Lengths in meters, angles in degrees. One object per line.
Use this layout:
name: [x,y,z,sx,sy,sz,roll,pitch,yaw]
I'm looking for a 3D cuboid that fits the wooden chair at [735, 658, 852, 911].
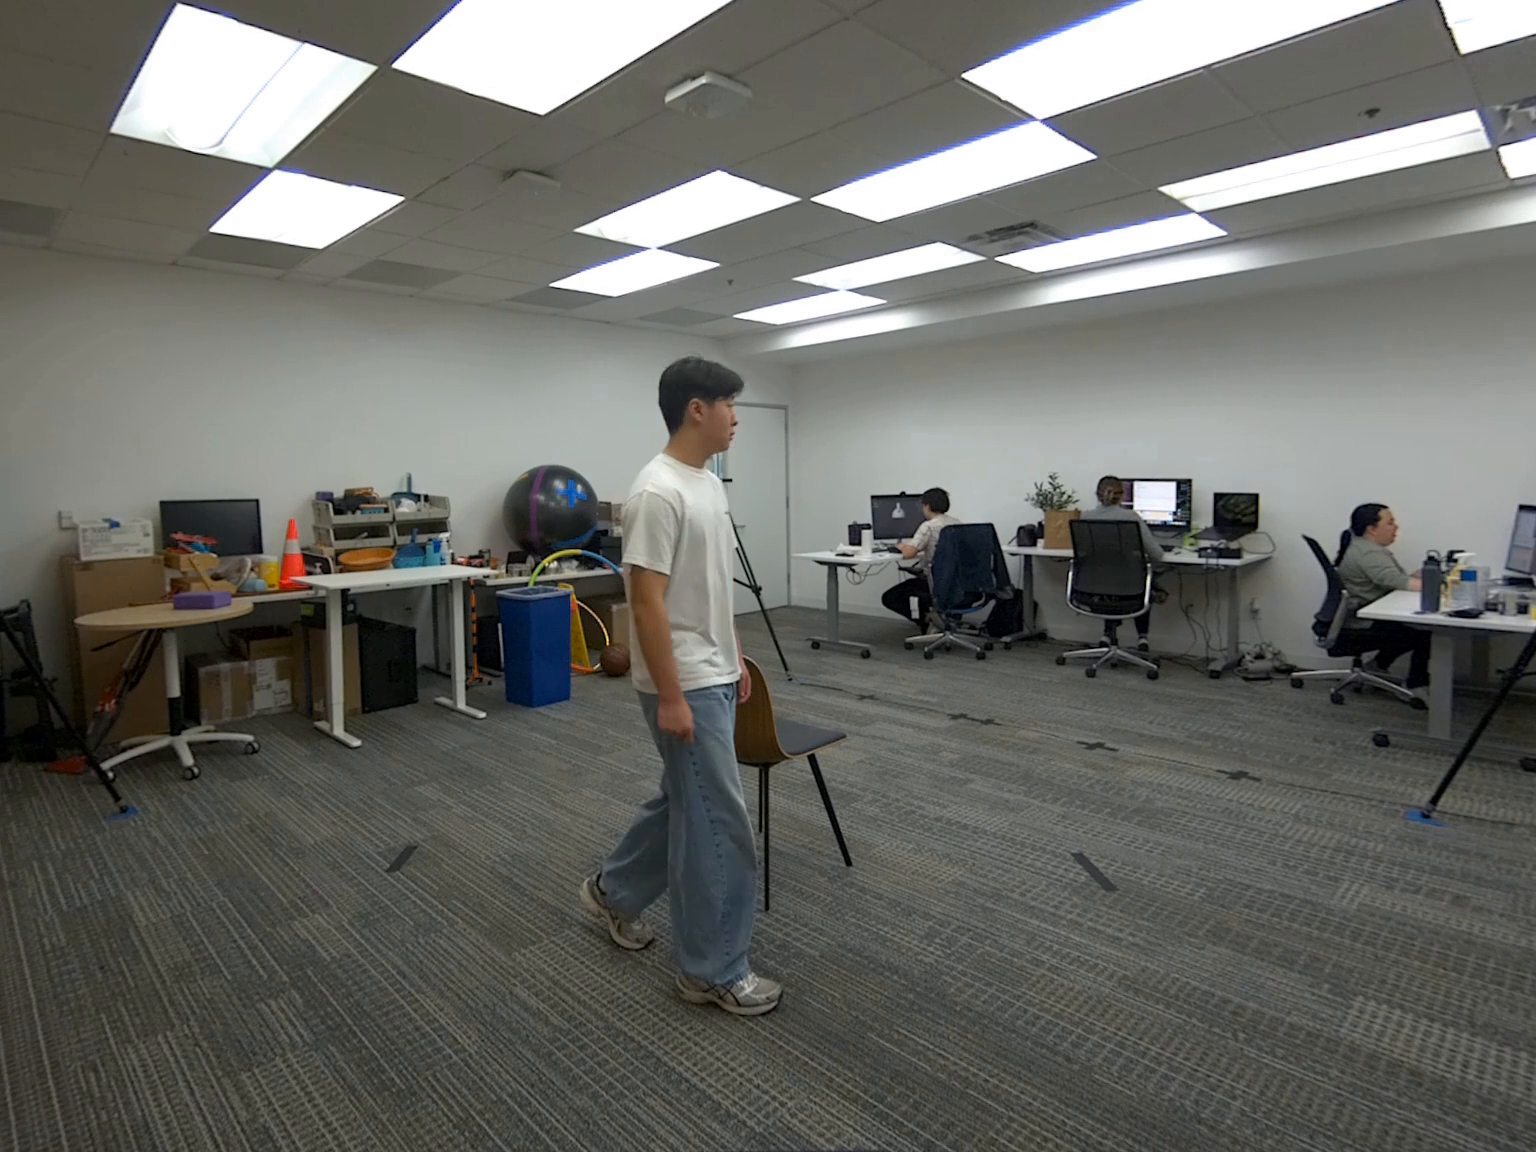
wooden chair: [-0.011,0.624,3.049,0.493,0.871,0.511,3,10,44]
